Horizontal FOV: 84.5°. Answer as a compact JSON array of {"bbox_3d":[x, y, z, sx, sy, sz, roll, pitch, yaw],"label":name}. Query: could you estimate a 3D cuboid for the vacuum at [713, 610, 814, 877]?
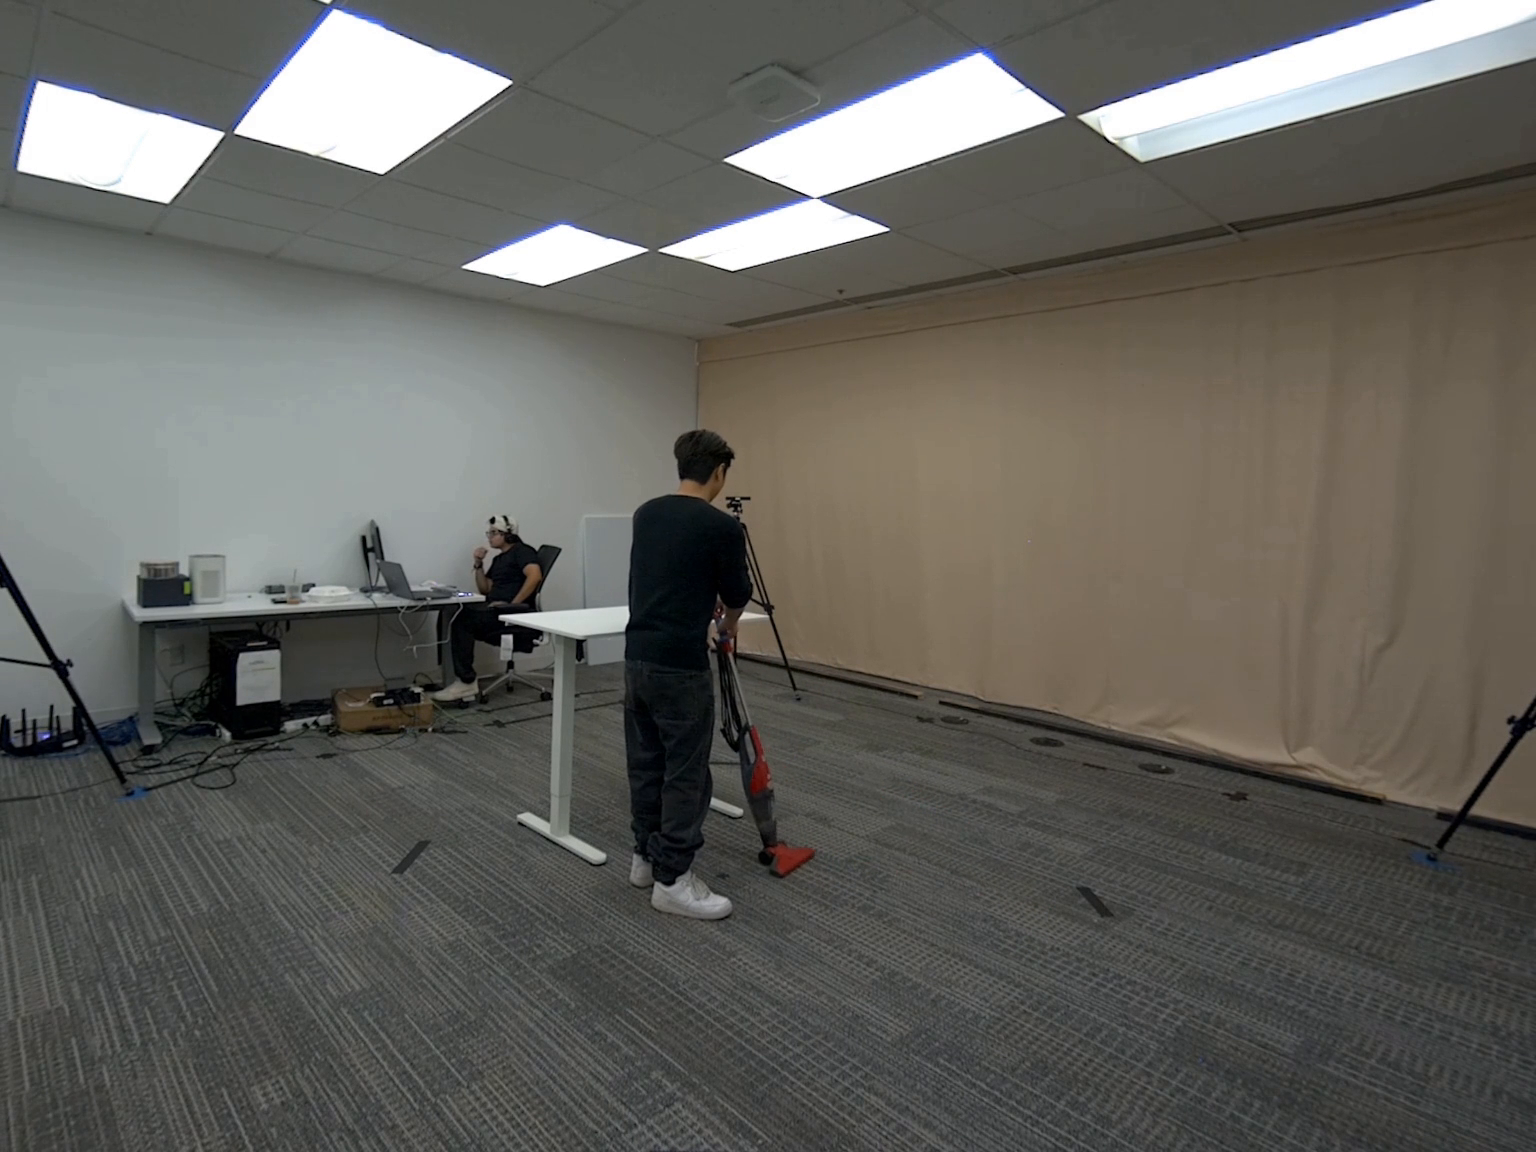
[{"bbox_3d":[-0.102,0.603,3.324,0.145,1.060,0.247,-23,-12,29],"label":"vacuum"}]
